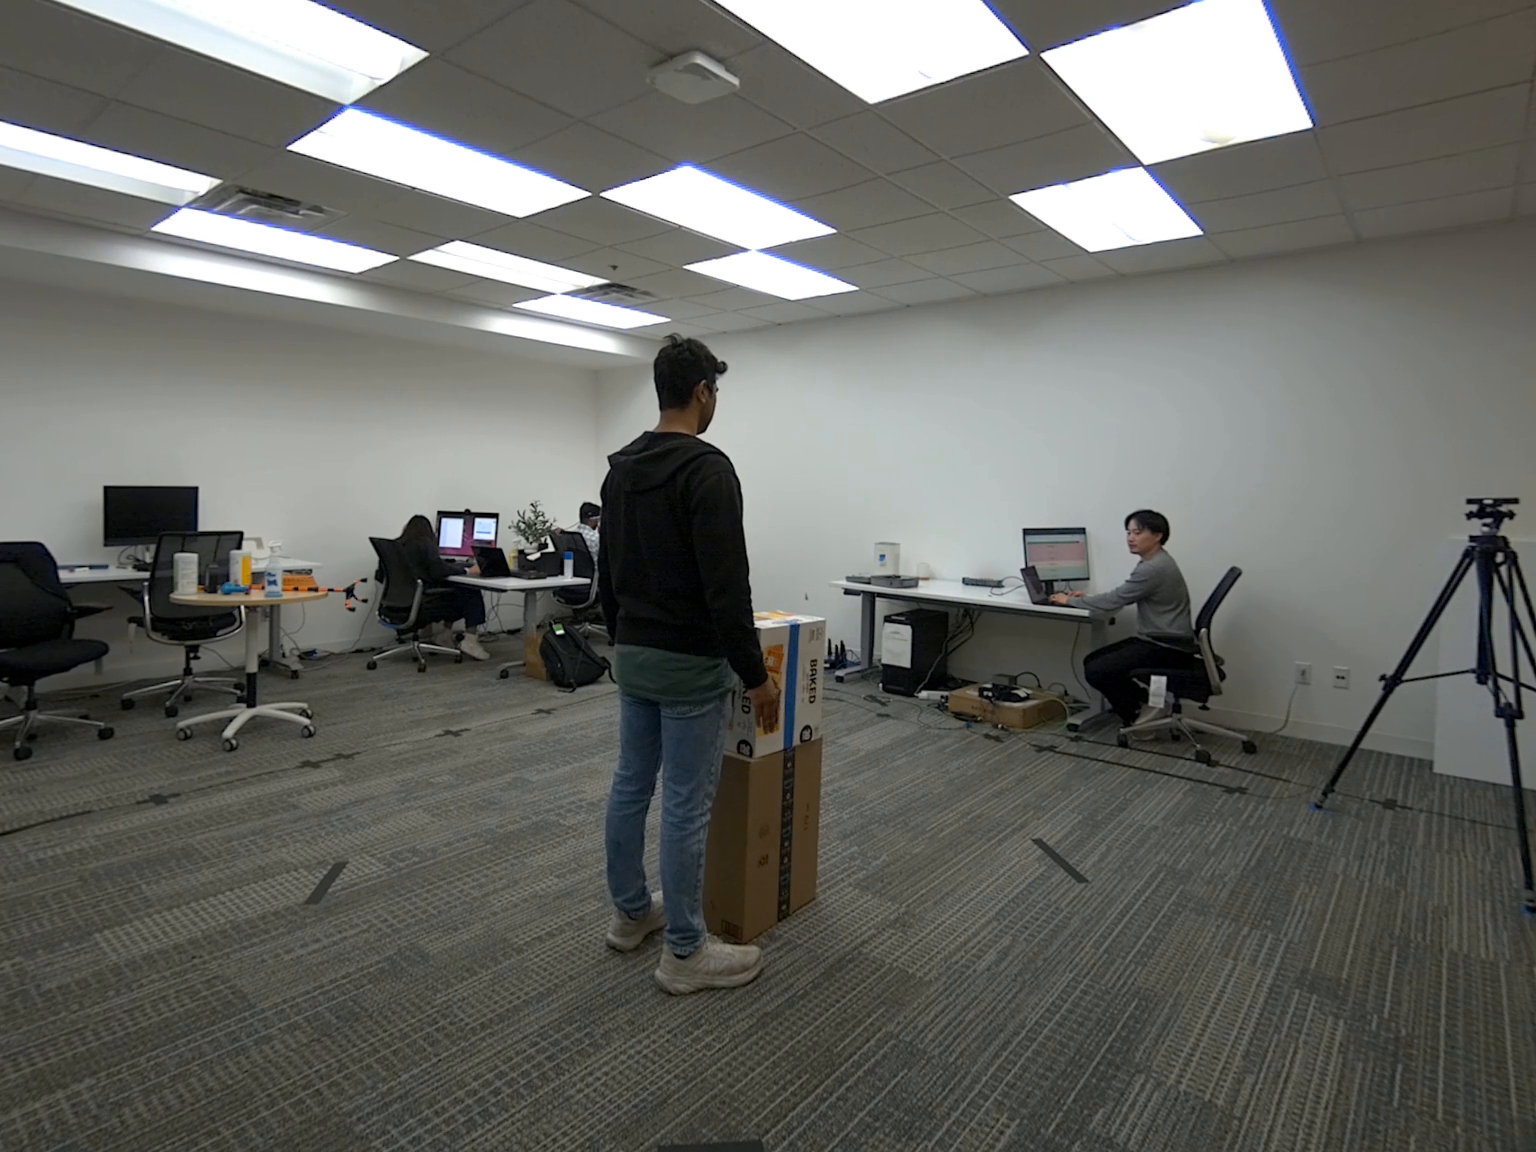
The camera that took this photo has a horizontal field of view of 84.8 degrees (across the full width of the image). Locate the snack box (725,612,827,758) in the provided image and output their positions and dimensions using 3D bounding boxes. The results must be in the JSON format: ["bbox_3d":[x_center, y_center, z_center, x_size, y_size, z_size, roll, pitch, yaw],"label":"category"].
[{"bbox_3d":[-0.010,0.335,2.768,0.213,0.404,0.330,6,6,41],"label":"snack box"}]
